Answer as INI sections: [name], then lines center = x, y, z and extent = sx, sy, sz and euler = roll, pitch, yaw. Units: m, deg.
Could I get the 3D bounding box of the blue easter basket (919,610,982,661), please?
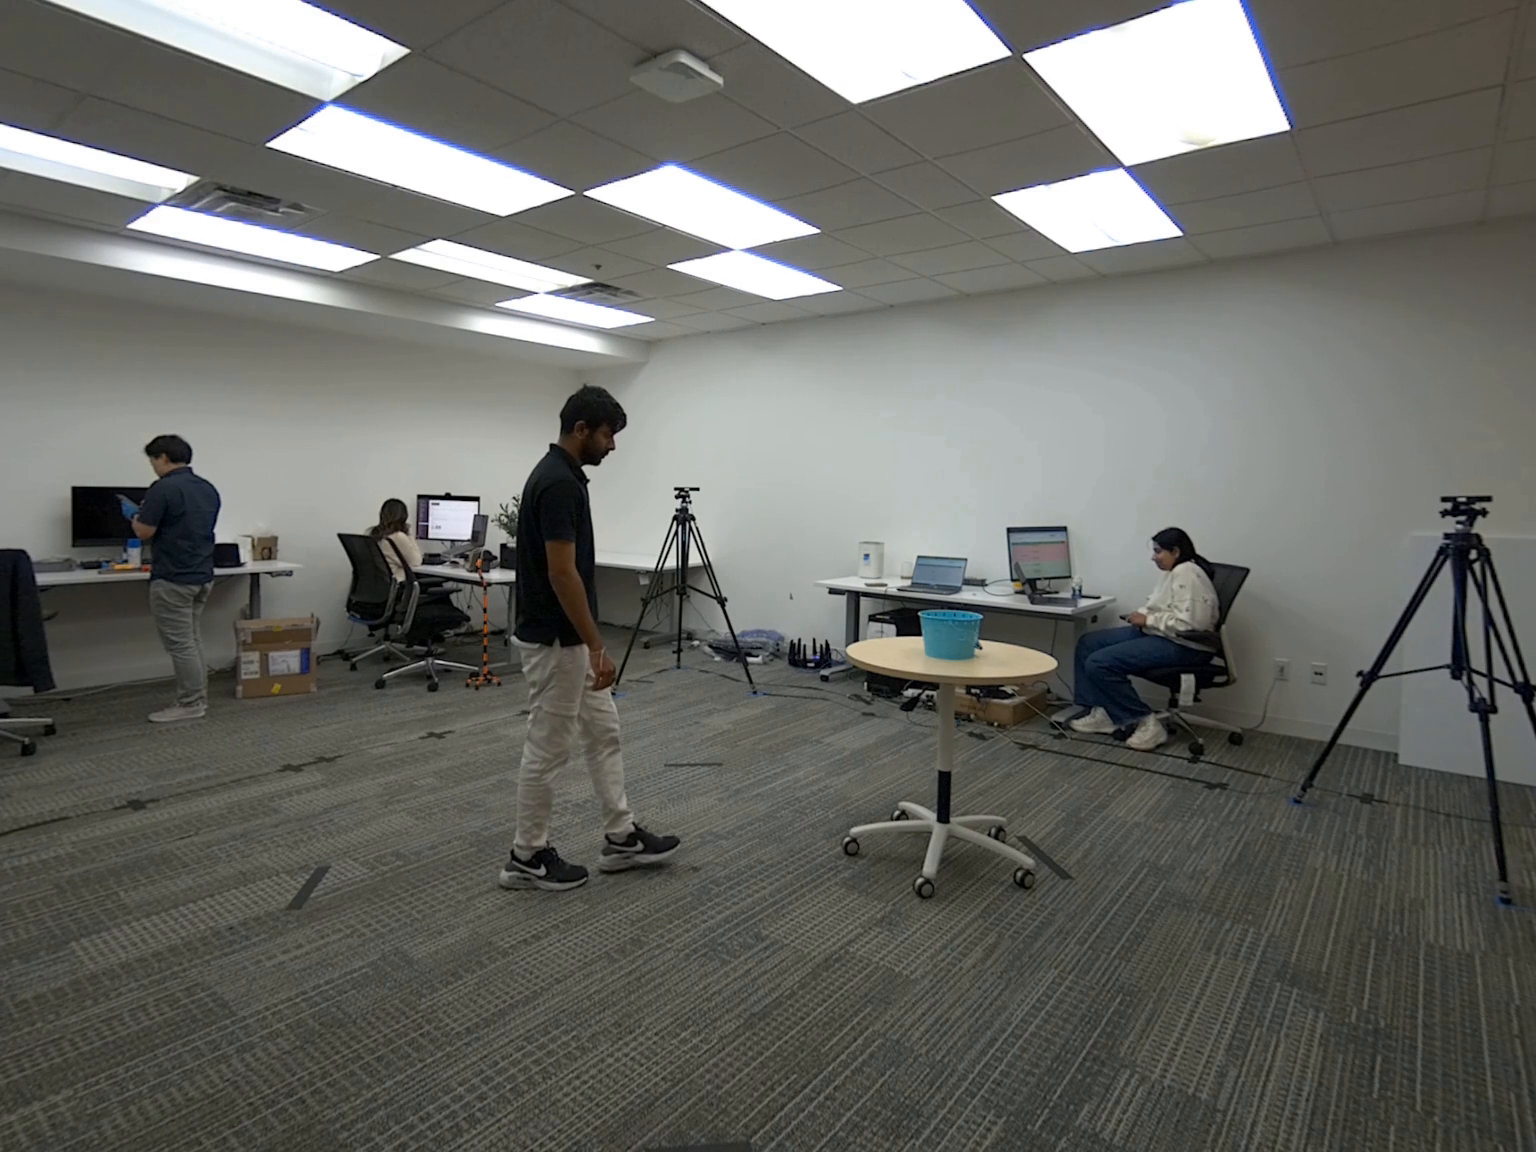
[blue easter basket]
center = 0.682, 0.221, 3.196
extent = 0.243, 0.155, 0.245
euler = 0, 4, -2
